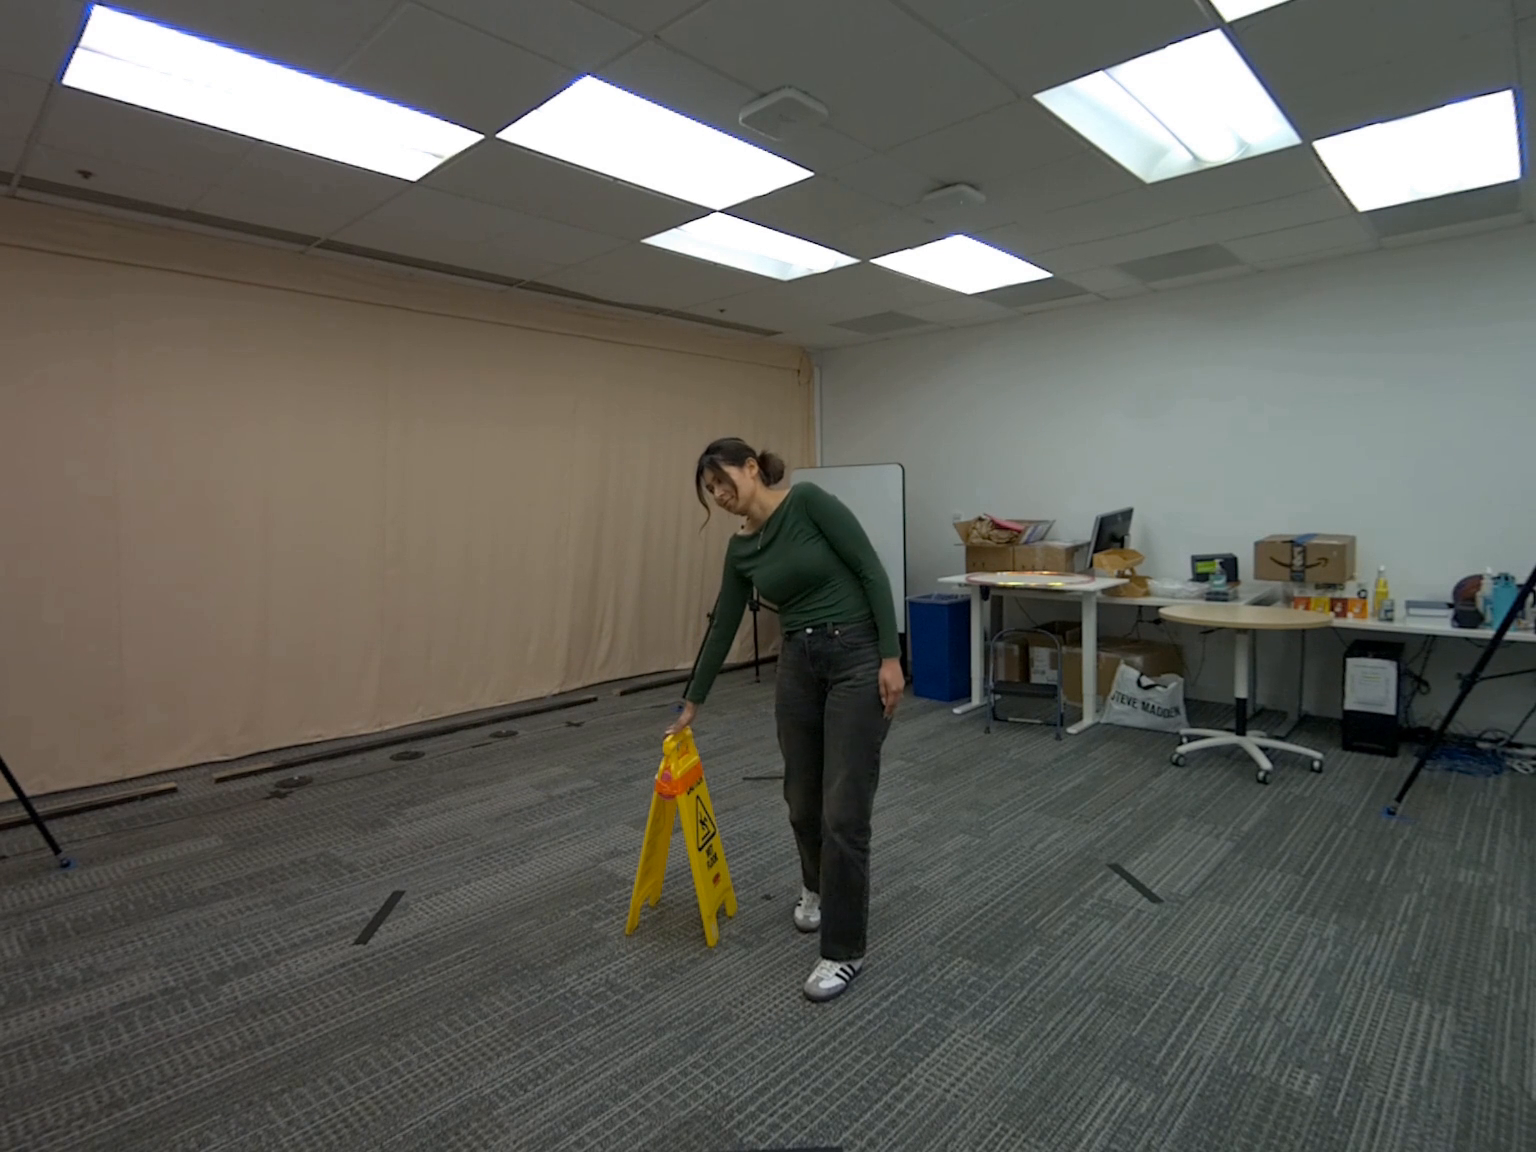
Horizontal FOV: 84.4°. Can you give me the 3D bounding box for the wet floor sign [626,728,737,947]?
[{"bbox_3d":[-0.288,0.839,2.802,0.295,0.644,0.278,0,5,17],"label":"wet floor sign"}]
